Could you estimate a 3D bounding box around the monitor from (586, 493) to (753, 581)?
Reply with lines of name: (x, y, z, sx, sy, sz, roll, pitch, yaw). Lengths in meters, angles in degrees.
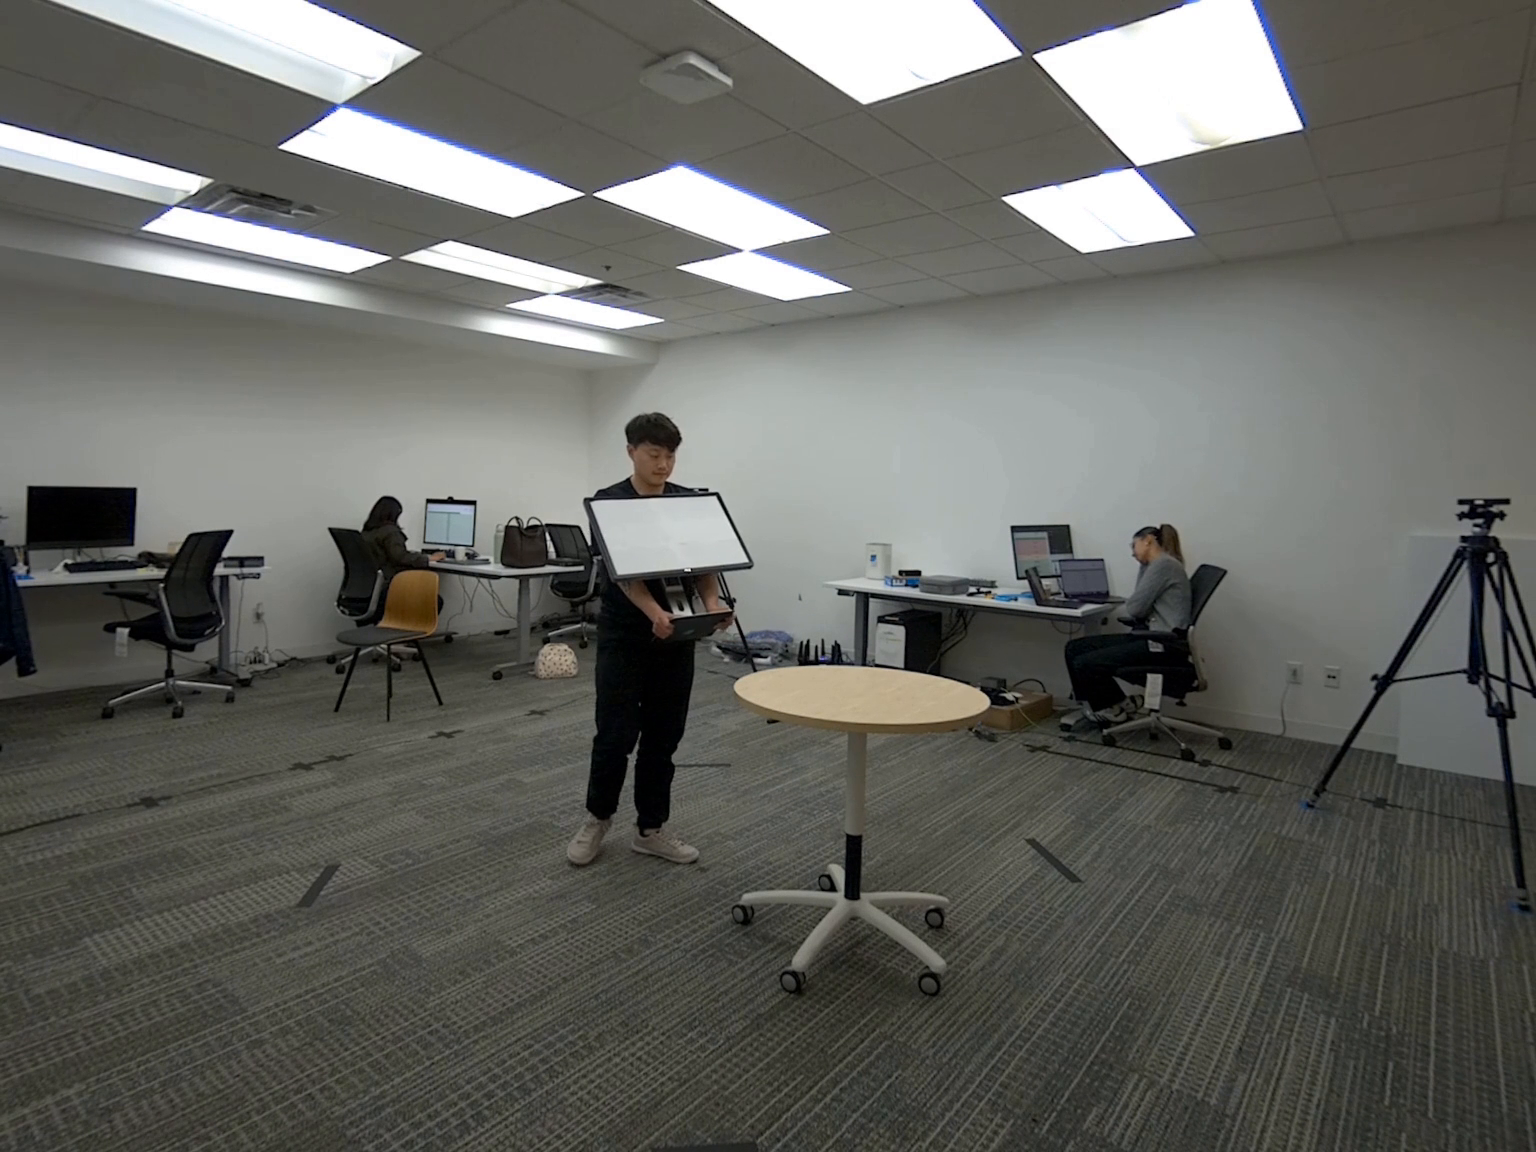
monitor: (-0.347, -0.058, 3.043, 0.525, 0.537, 0.187, -5, -27, -32)
